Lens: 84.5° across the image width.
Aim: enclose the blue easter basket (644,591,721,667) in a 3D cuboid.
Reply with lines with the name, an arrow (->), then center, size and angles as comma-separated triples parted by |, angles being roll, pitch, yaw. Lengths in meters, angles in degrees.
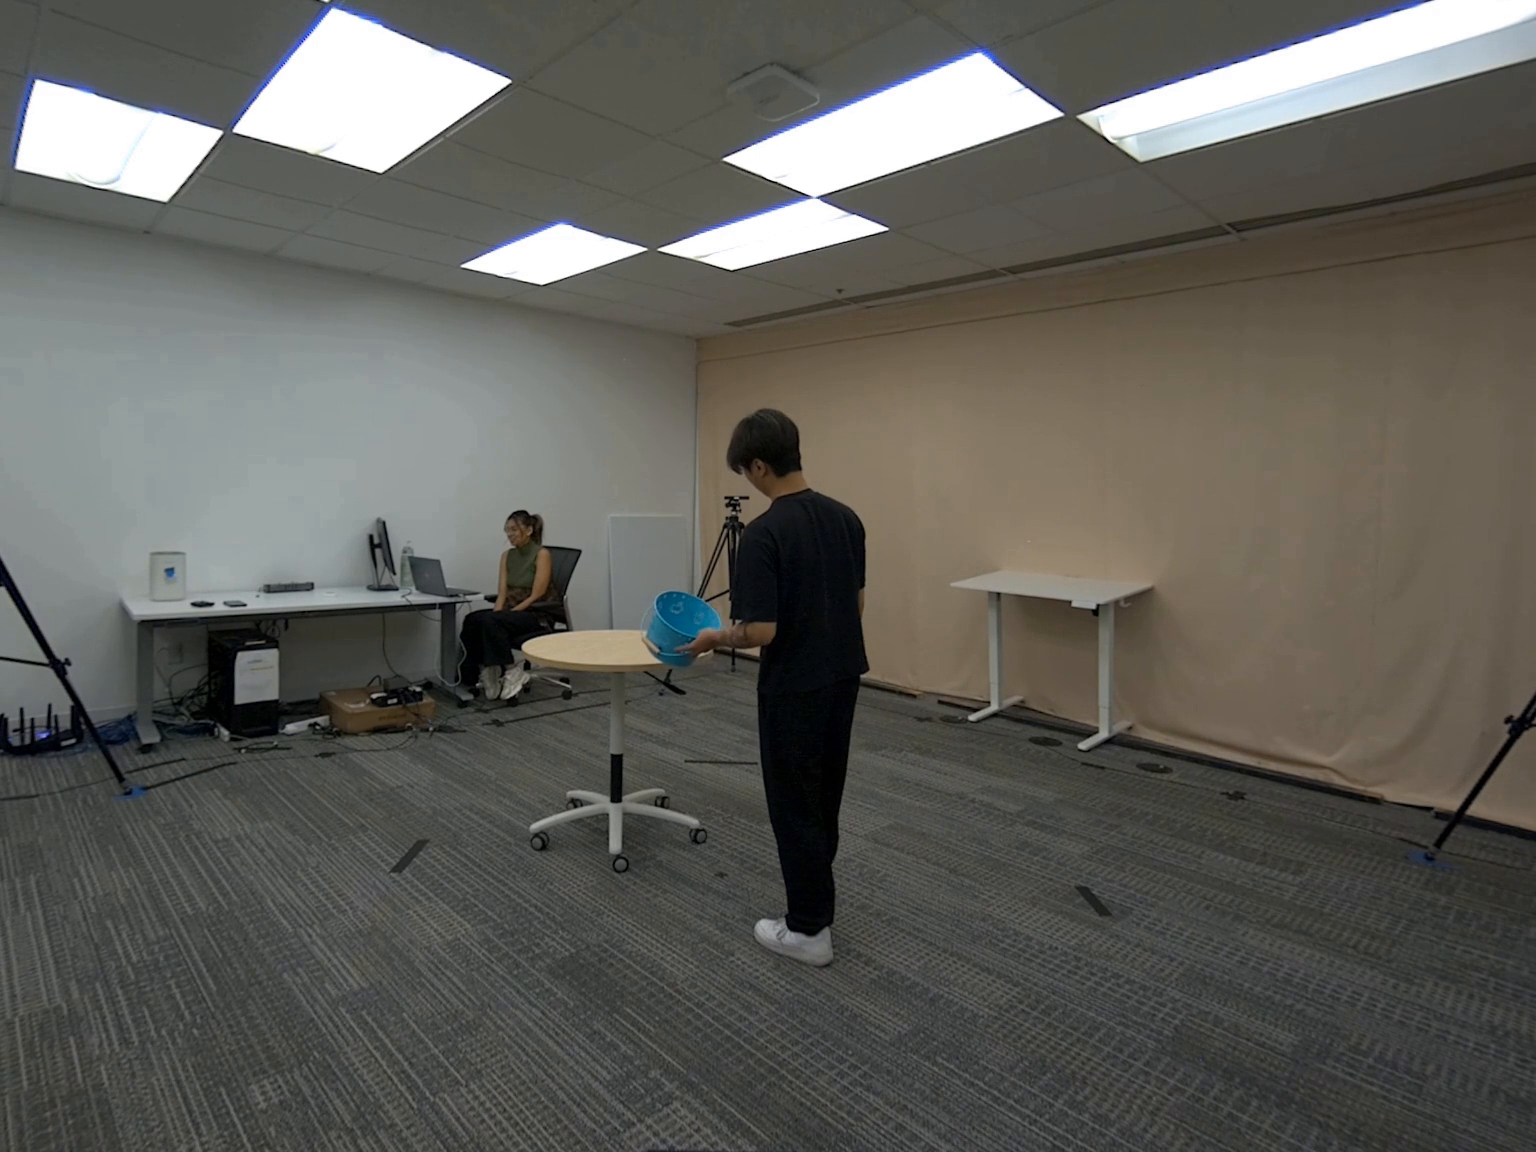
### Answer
blue easter basket -> -0.296, 0.181, 2.748 | 0.240, 0.155, 0.248 | 21, 29, -14
